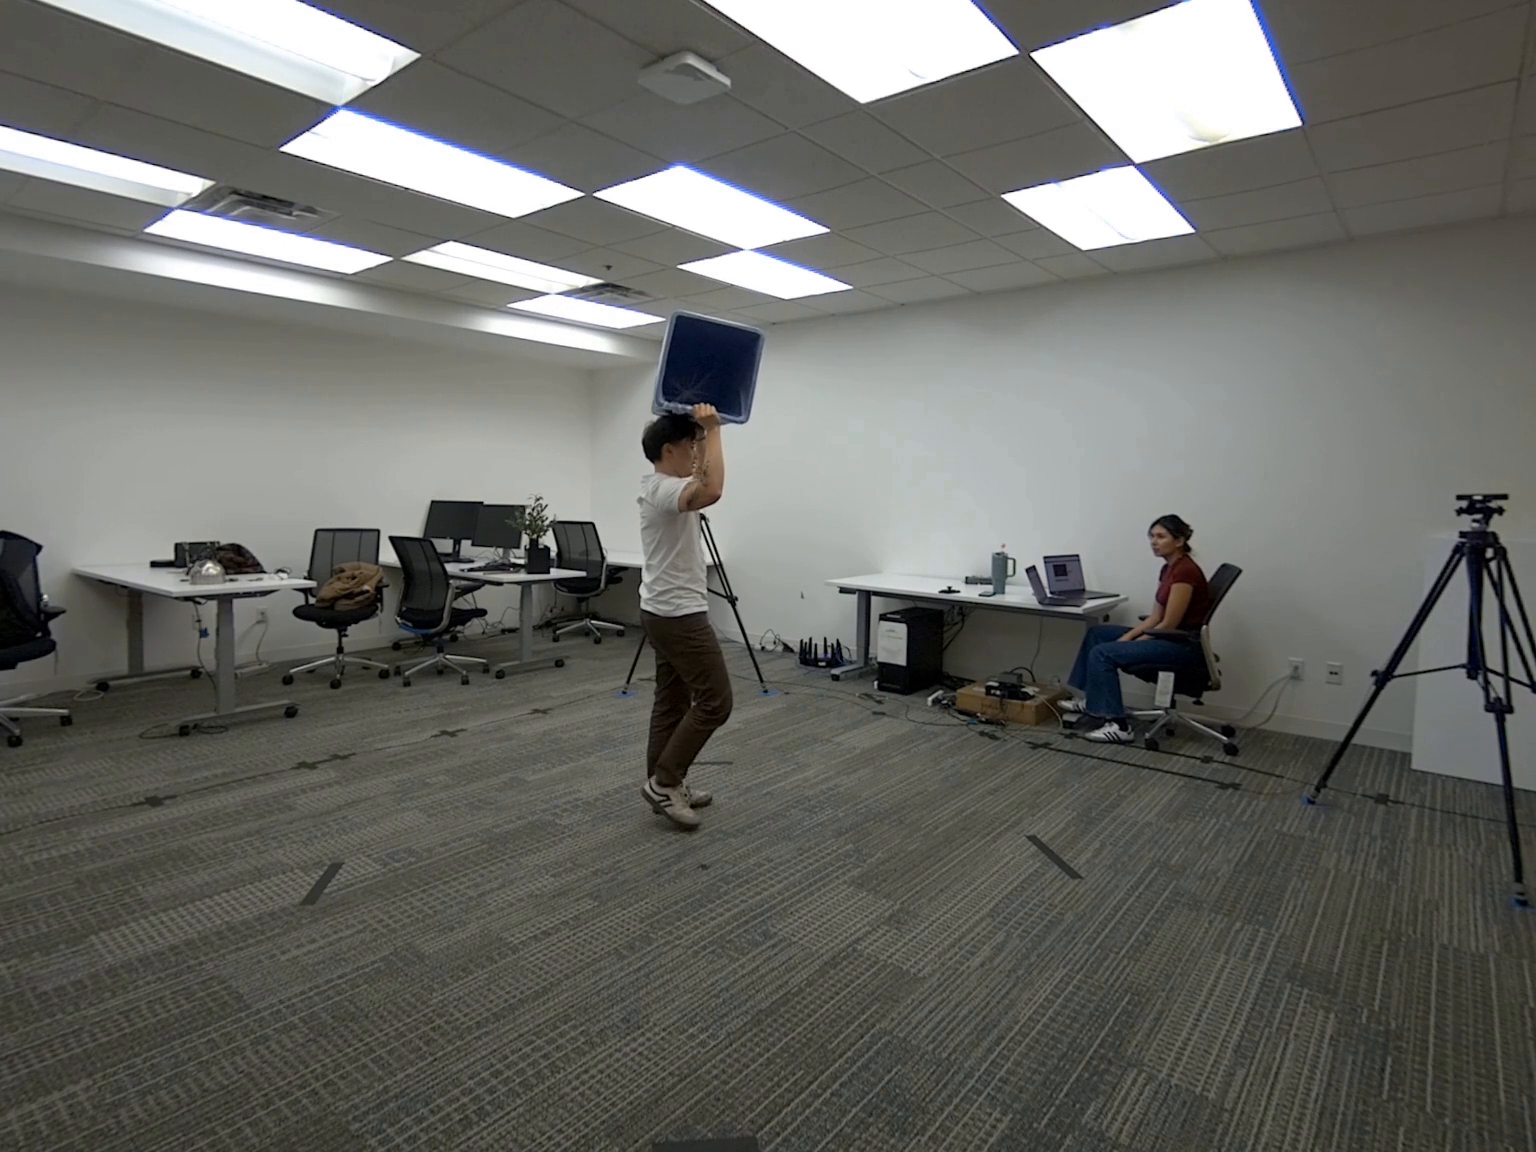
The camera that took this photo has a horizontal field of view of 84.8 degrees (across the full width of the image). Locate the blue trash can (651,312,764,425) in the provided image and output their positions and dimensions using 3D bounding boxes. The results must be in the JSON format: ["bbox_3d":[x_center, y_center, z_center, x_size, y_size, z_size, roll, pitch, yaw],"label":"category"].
[{"bbox_3d":[-0.289,-0.831,3.546,0.369,0.377,0.724,11,3,-11],"label":"blue trash can"}]
